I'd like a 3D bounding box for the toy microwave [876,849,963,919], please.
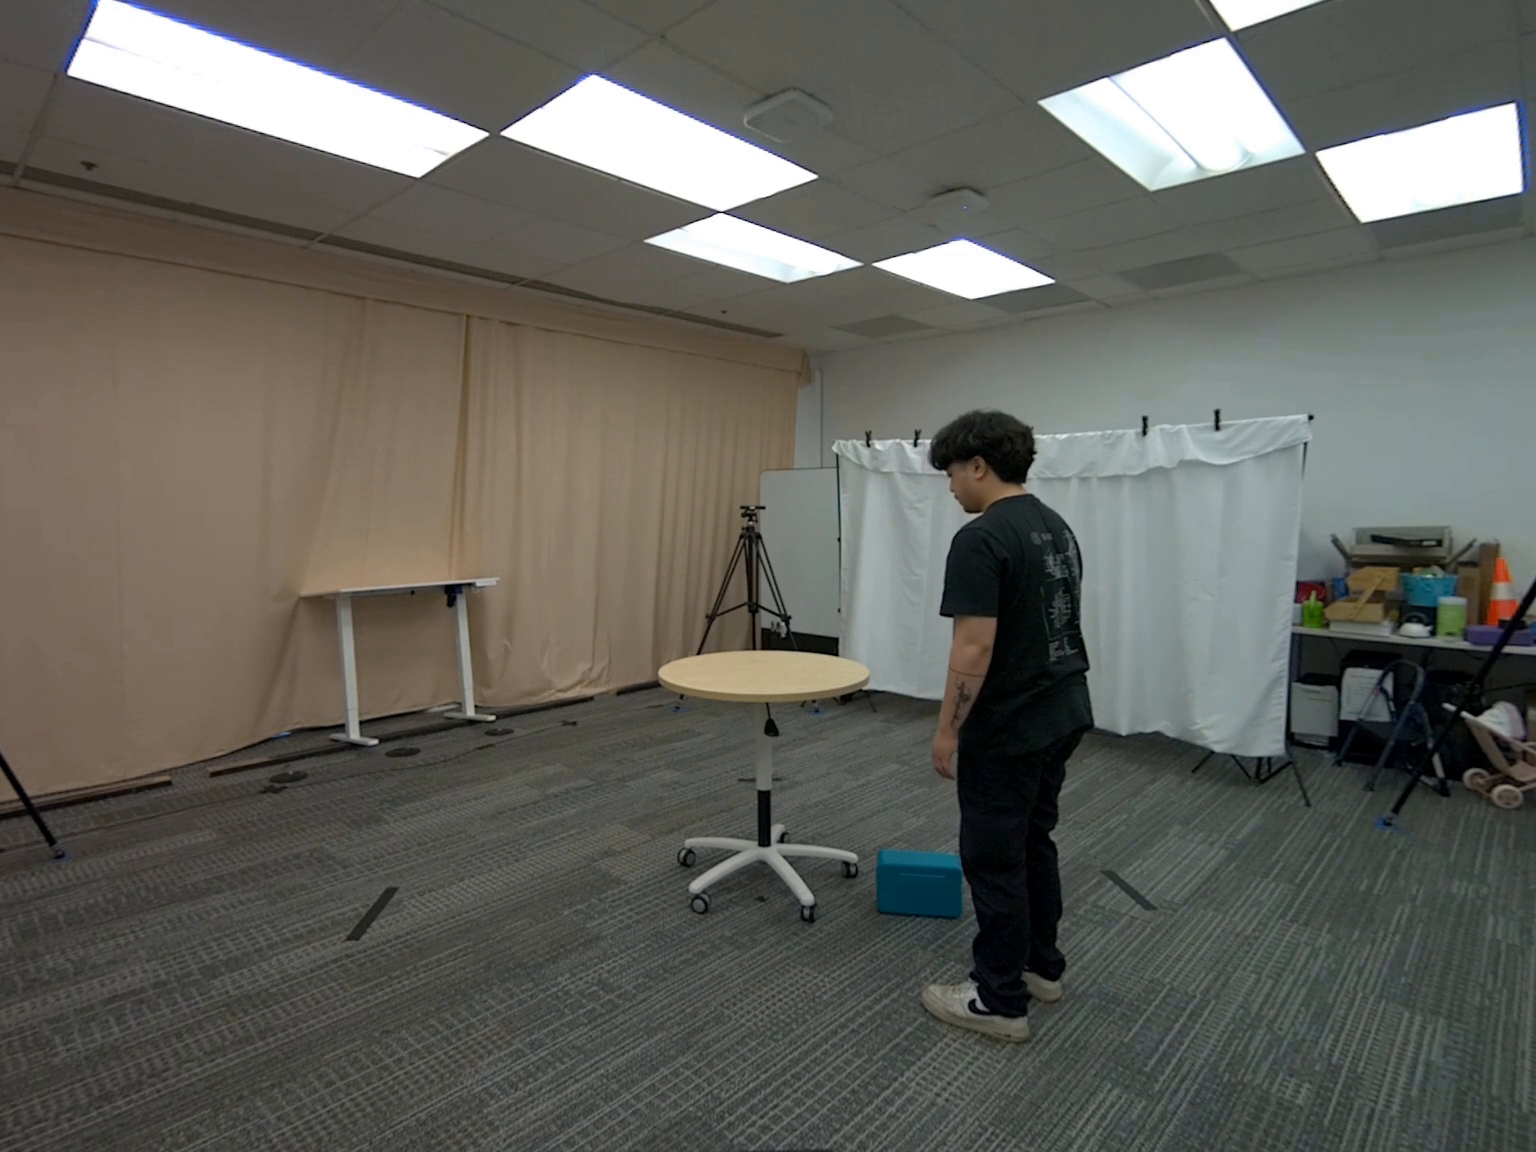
[{"bbox_3d":[0.516,1.051,2.911,0.289,0.183,0.151,1,5,8],"label":"toy microwave"}]
